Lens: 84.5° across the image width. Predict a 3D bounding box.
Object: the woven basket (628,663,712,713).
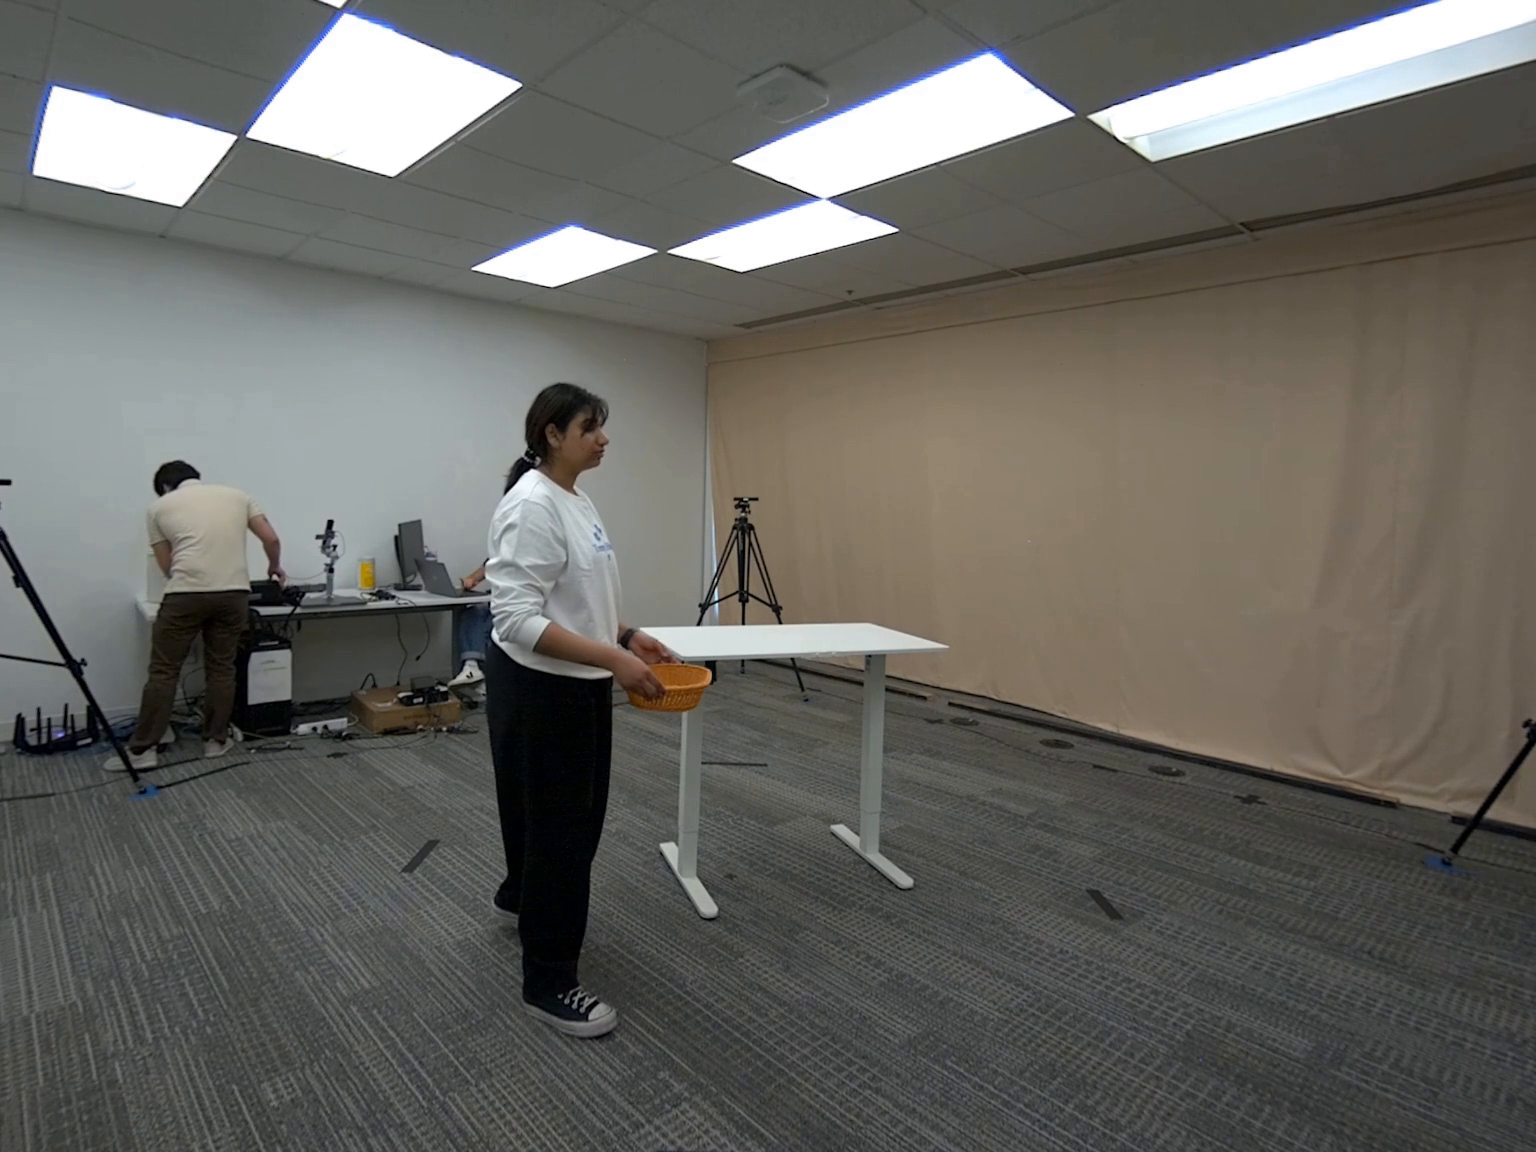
[{"bbox_3d":[-0.304,0.310,2.265,0.254,0.073,0.349,2,5,7],"label":"woven basket"}]
